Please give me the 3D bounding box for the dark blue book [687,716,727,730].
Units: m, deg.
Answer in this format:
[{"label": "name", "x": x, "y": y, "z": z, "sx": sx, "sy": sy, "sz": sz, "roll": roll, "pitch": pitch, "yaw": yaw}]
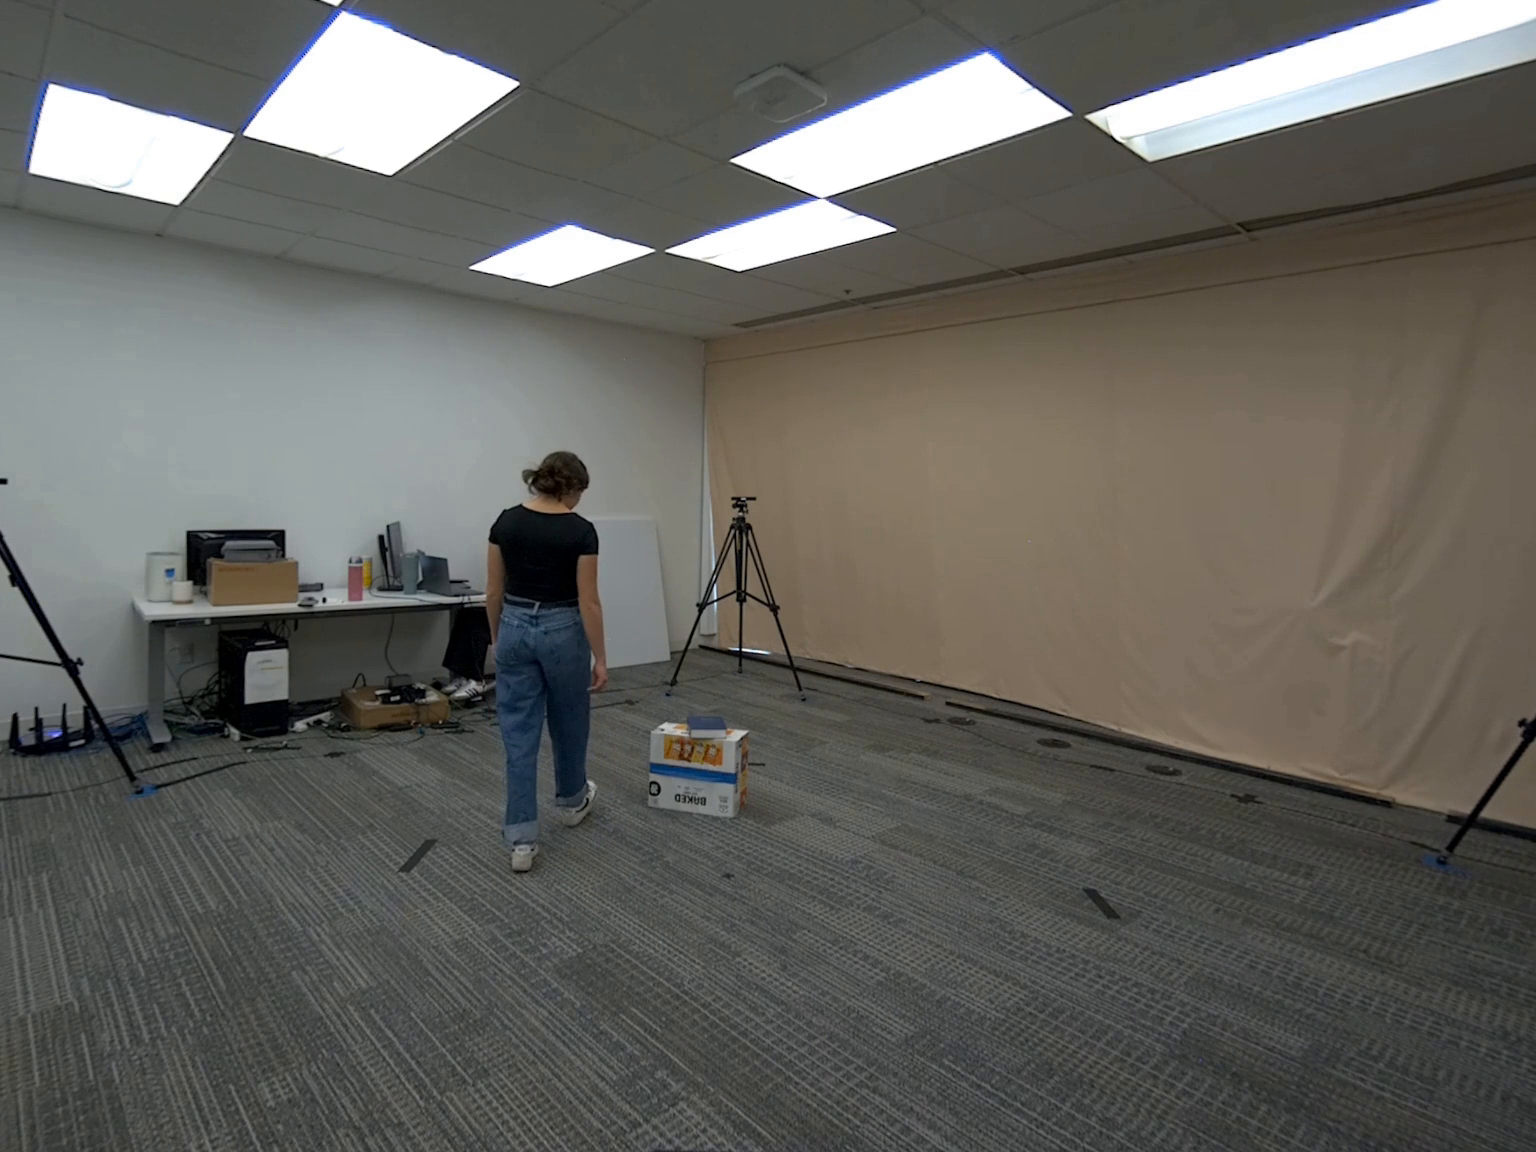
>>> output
[{"label": "dark blue book", "x": -0.285, "y": 0.680, "z": 3.814, "sx": 0.162, "sy": 0.045, "sz": 0.247, "roll": 1, "pitch": 5, "yaw": -8}]
